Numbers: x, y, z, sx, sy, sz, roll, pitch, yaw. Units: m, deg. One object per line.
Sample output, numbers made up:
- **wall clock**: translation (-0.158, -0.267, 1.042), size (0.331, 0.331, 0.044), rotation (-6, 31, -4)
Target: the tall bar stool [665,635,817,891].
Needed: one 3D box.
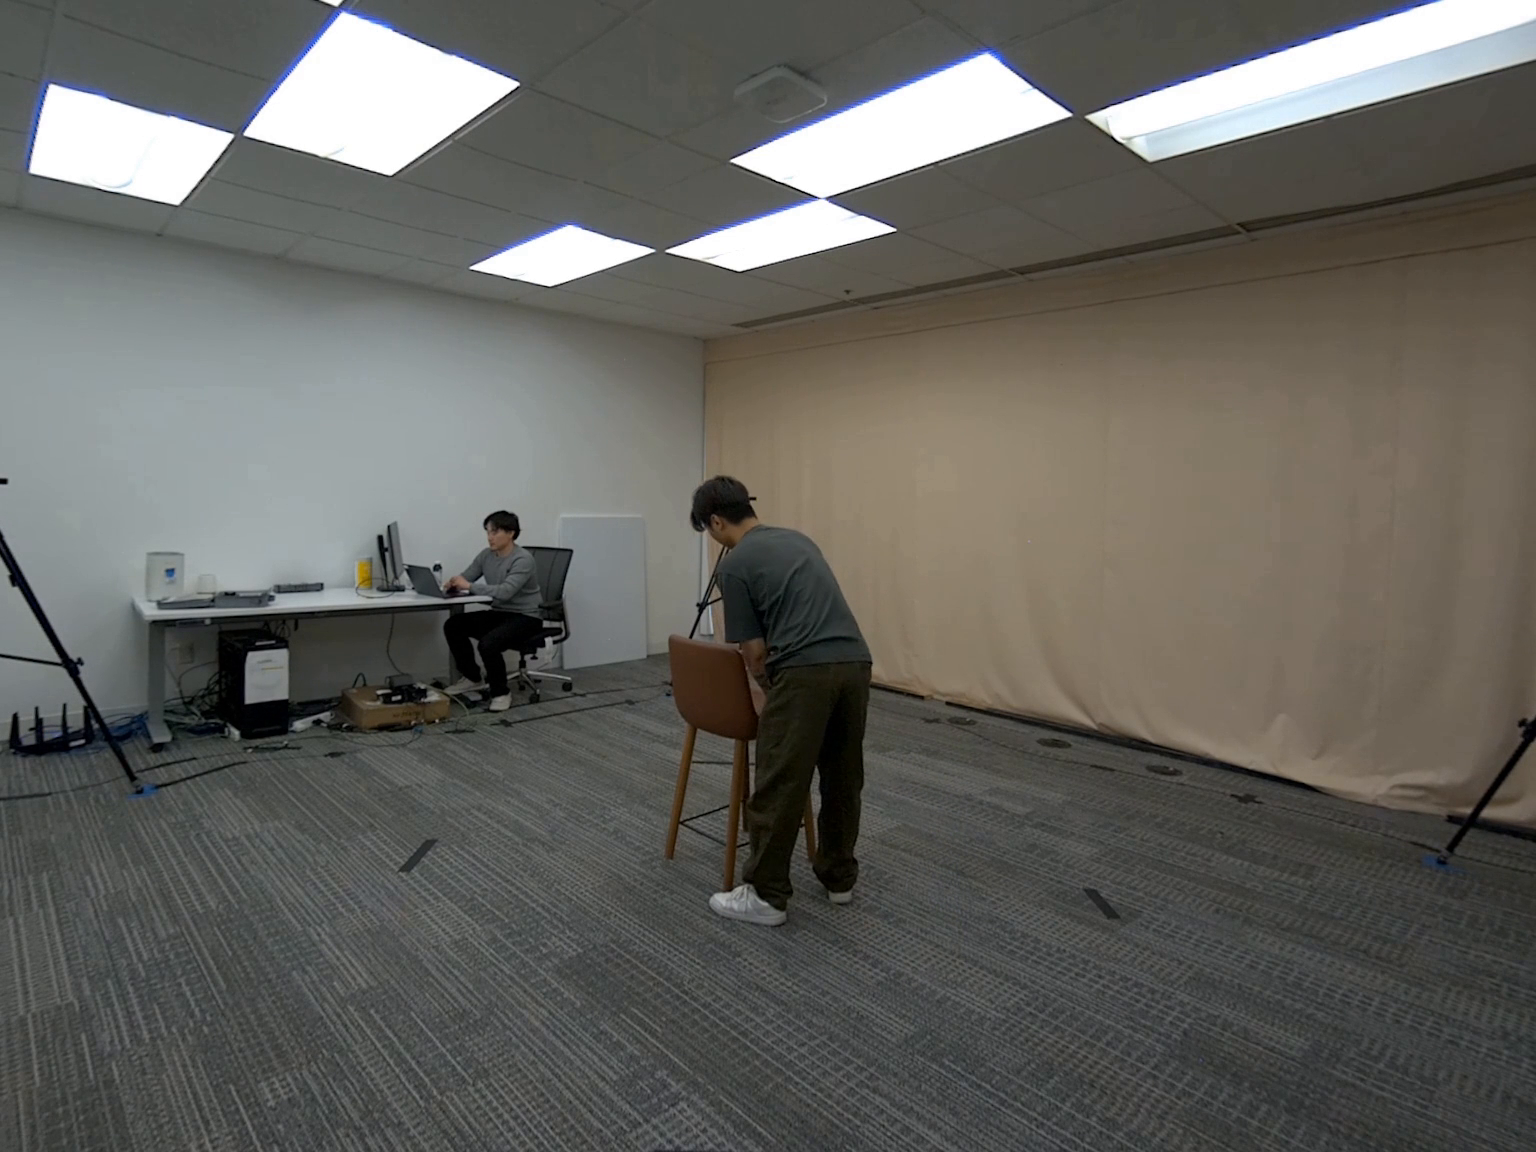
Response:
- **tall bar stool**: translation (-0.113, 0.660, 3.232), size (0.457, 0.887, 0.468), rotation (-3, 5, -43)
